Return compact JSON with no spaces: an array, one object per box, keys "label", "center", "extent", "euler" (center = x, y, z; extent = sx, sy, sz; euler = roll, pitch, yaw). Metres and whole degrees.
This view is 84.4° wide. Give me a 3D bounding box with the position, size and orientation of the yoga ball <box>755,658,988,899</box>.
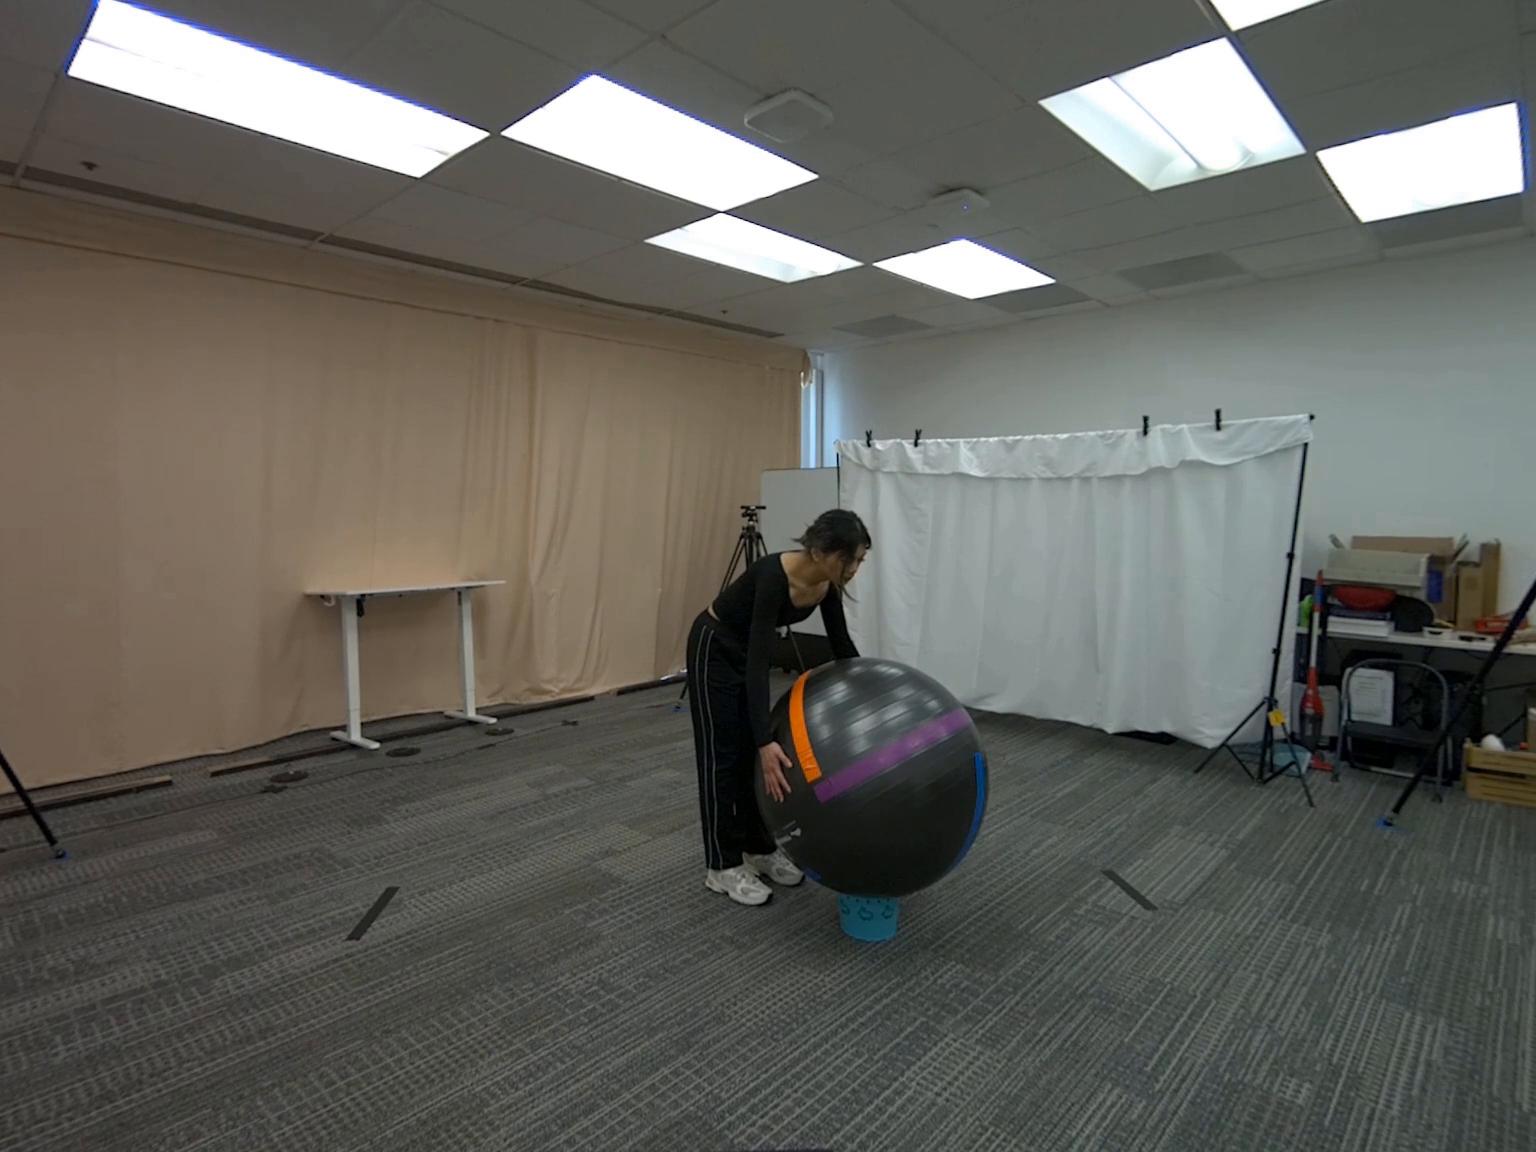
[{"label":"yoga ball","center":[0.341,0.653,2.761],"extent":[0.757,0.756,0.760],"euler":[0,4,-2]}]
